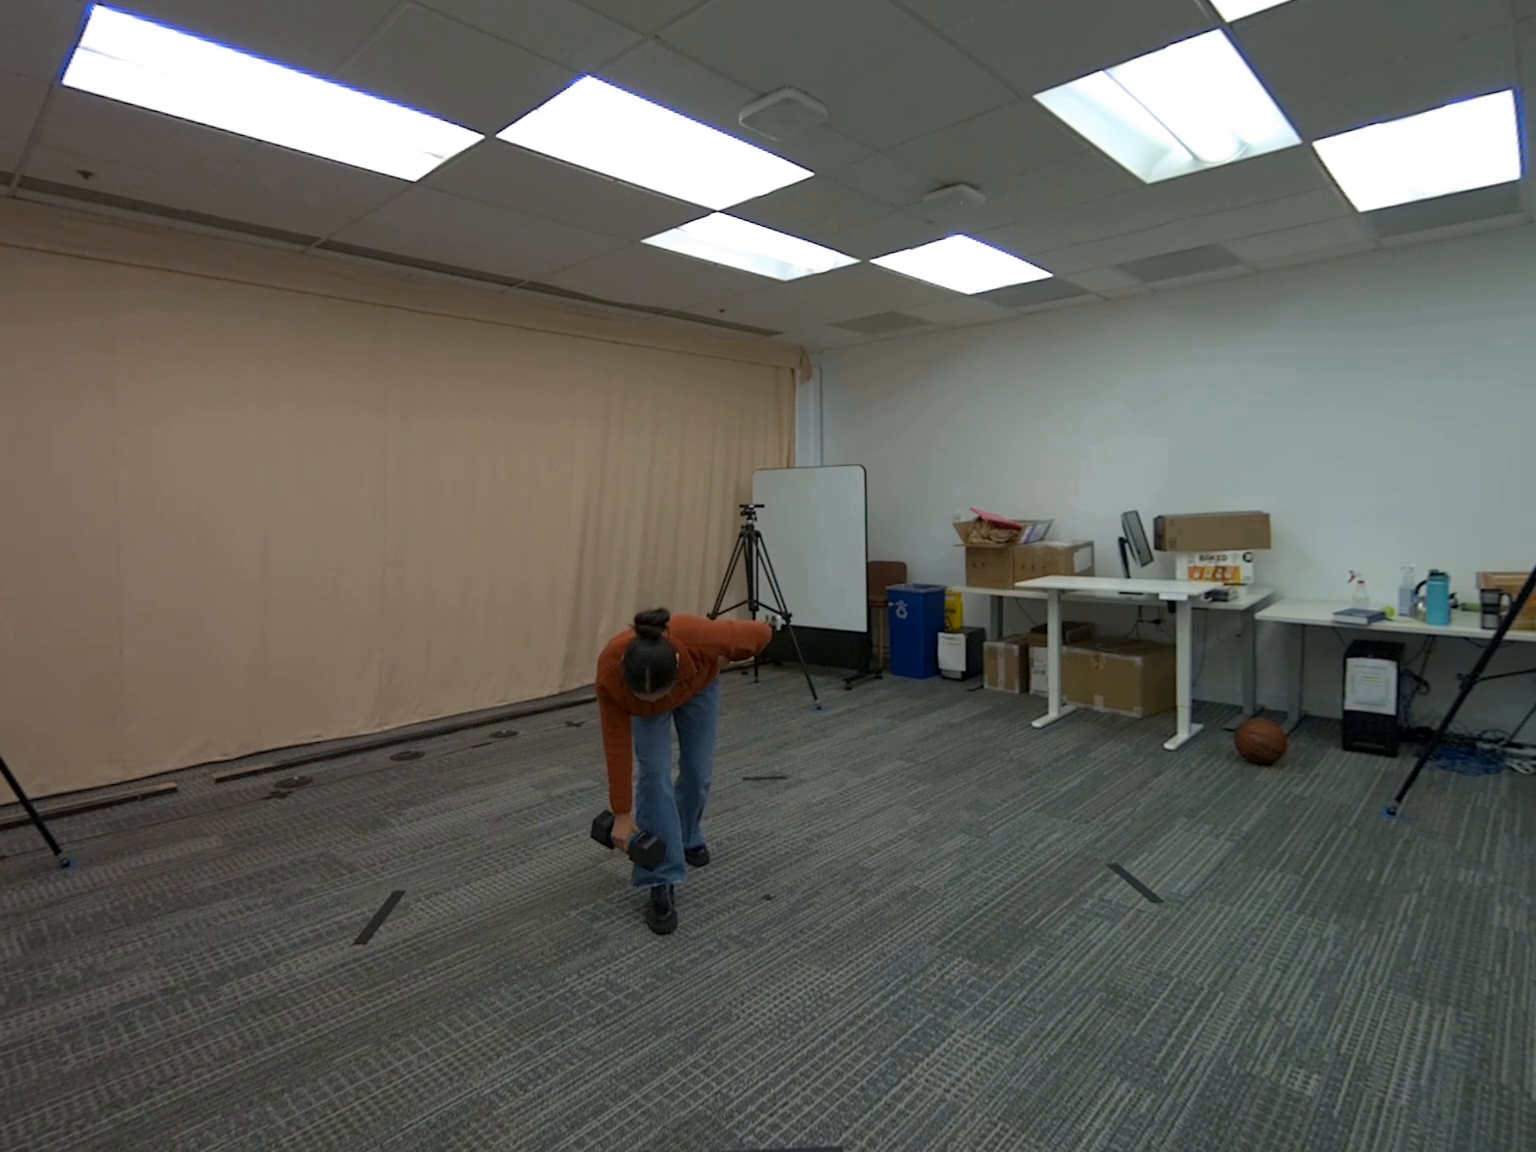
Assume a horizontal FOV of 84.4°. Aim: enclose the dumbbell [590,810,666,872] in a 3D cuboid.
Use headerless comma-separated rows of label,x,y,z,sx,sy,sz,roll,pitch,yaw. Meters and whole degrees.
dumbbell,-0.470,0.887,2.829,0.105,0.123,0.304,8,0,-45
